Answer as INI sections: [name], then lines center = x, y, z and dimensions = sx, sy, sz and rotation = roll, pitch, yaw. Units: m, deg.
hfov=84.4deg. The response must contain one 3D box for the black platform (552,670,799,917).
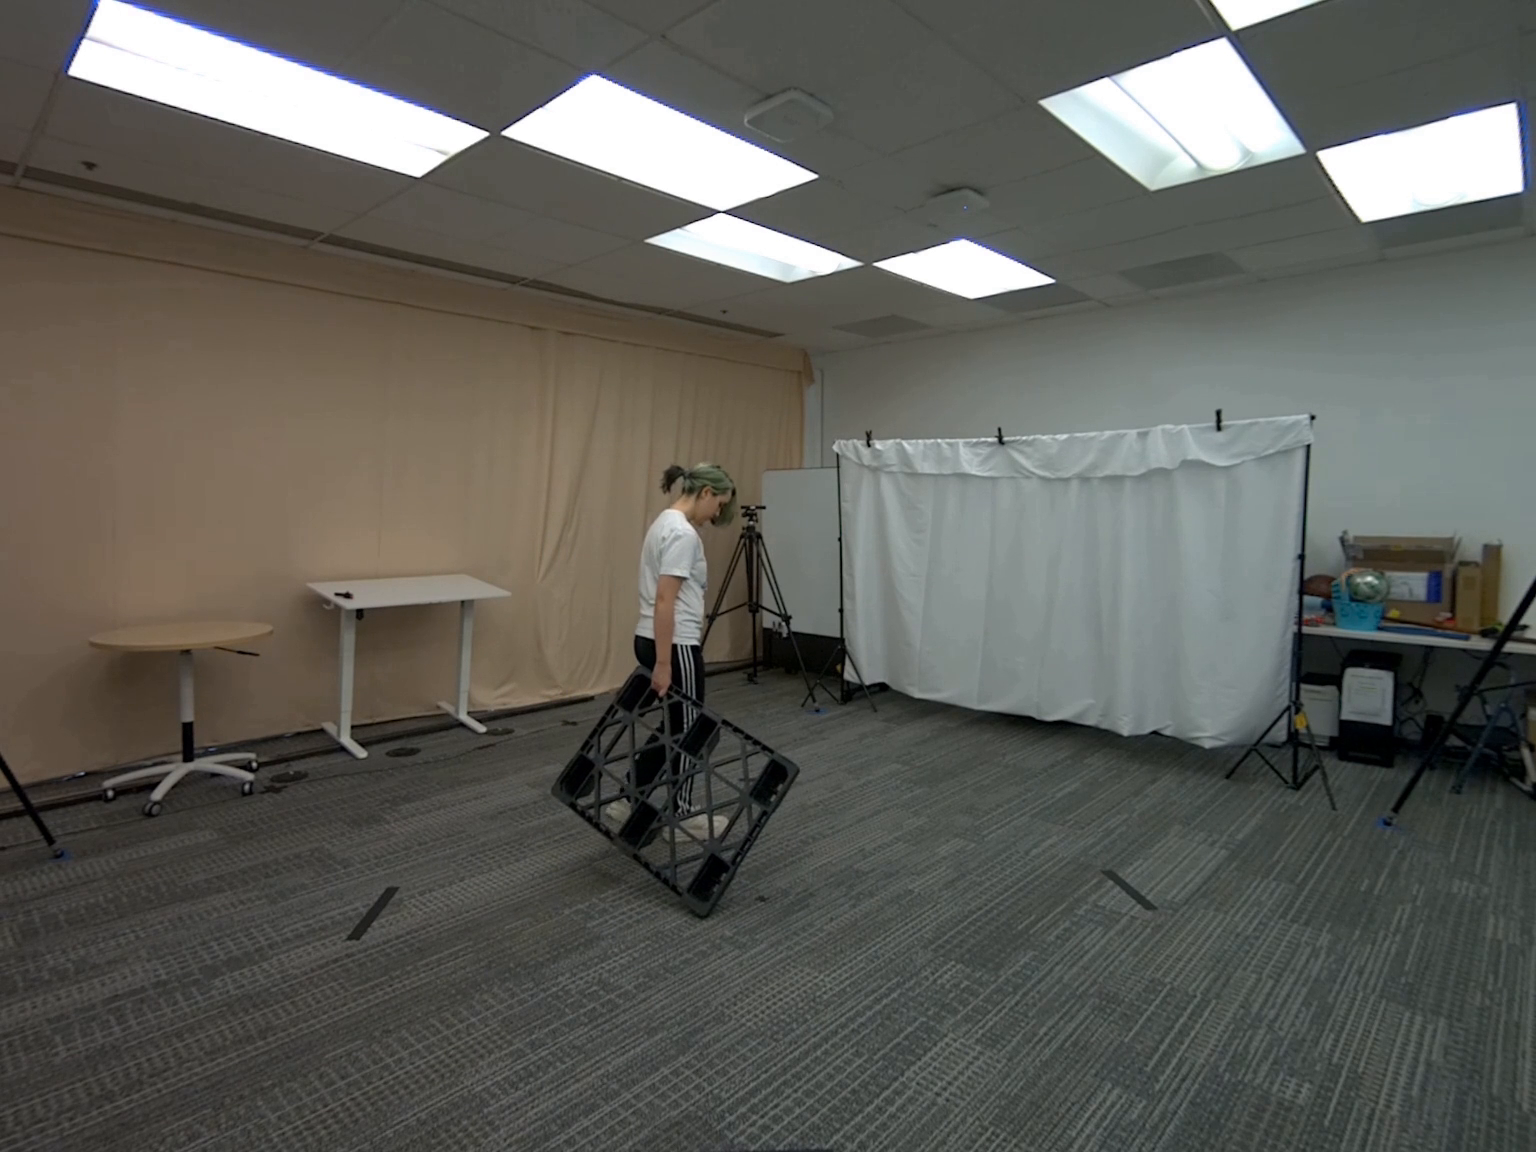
[black platform]
center = -0.350, 0.783, 3.148
dimensions = 0.832, 0.604, 0.139
rotation = 26, -15, 31
